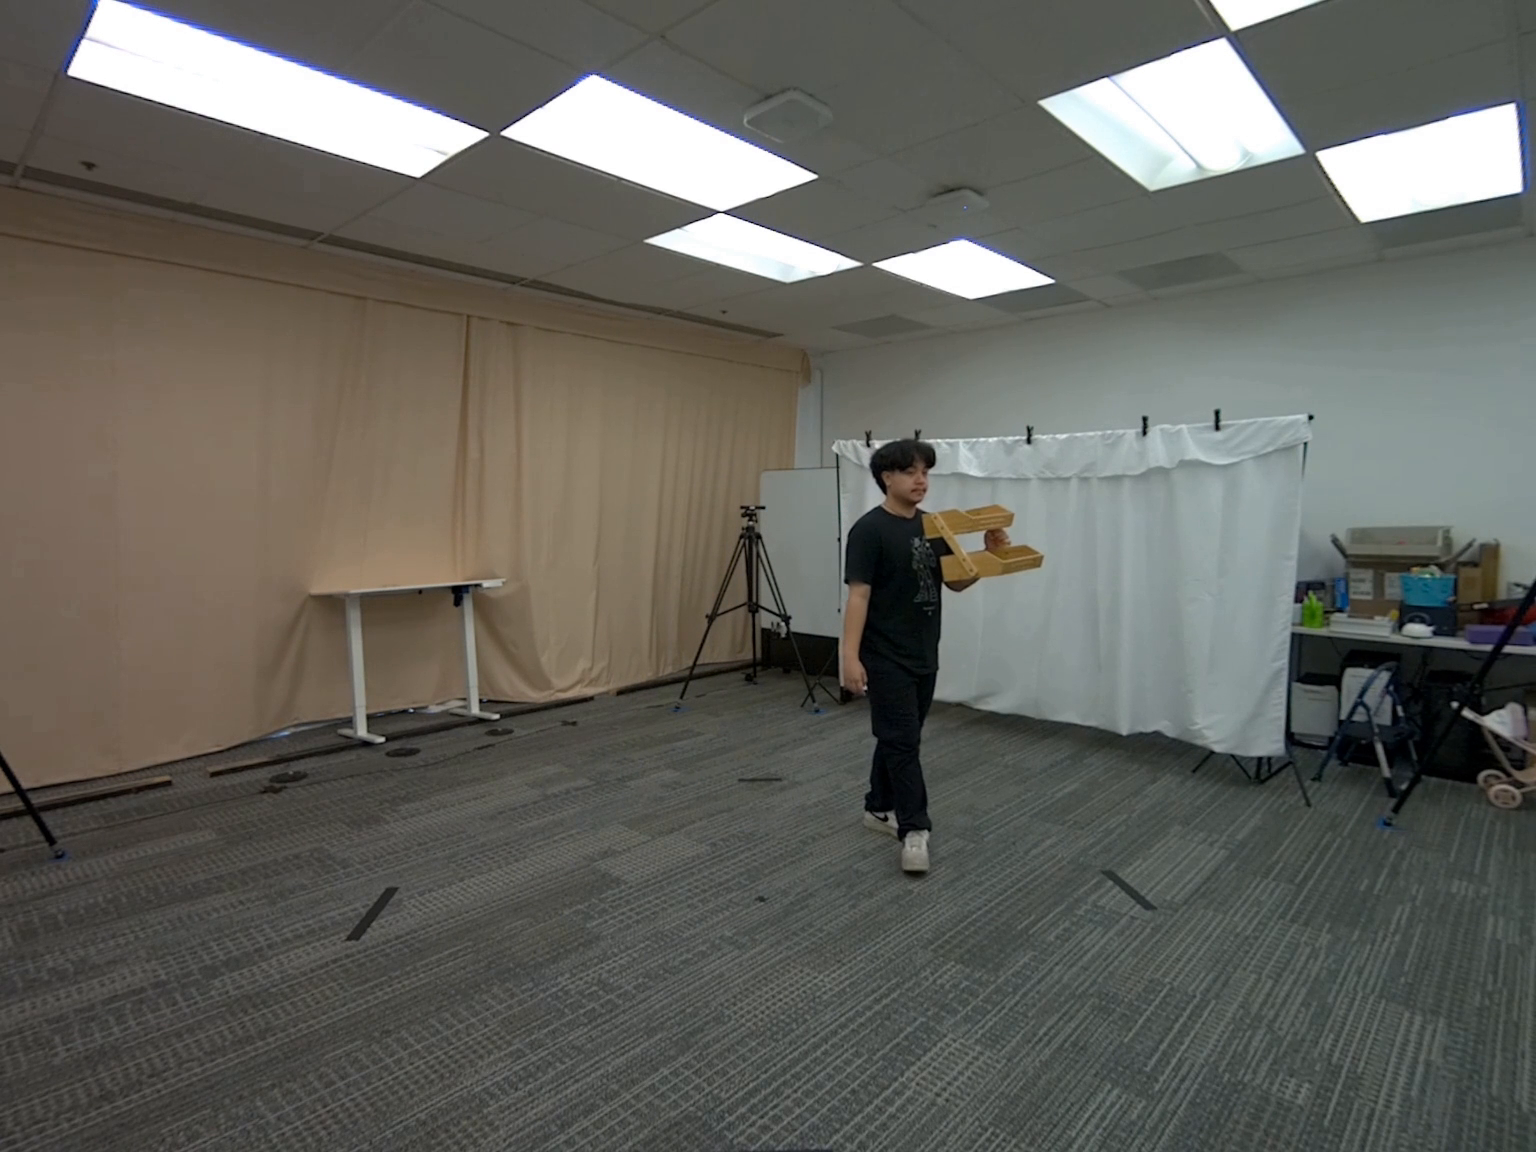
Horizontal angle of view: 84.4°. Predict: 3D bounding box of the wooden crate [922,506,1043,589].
[{"bbox_3d":[0.821,-0.138,3.173,0.315,0.274,0.310,-7,-2,-43],"label":"wooden crate"}]
